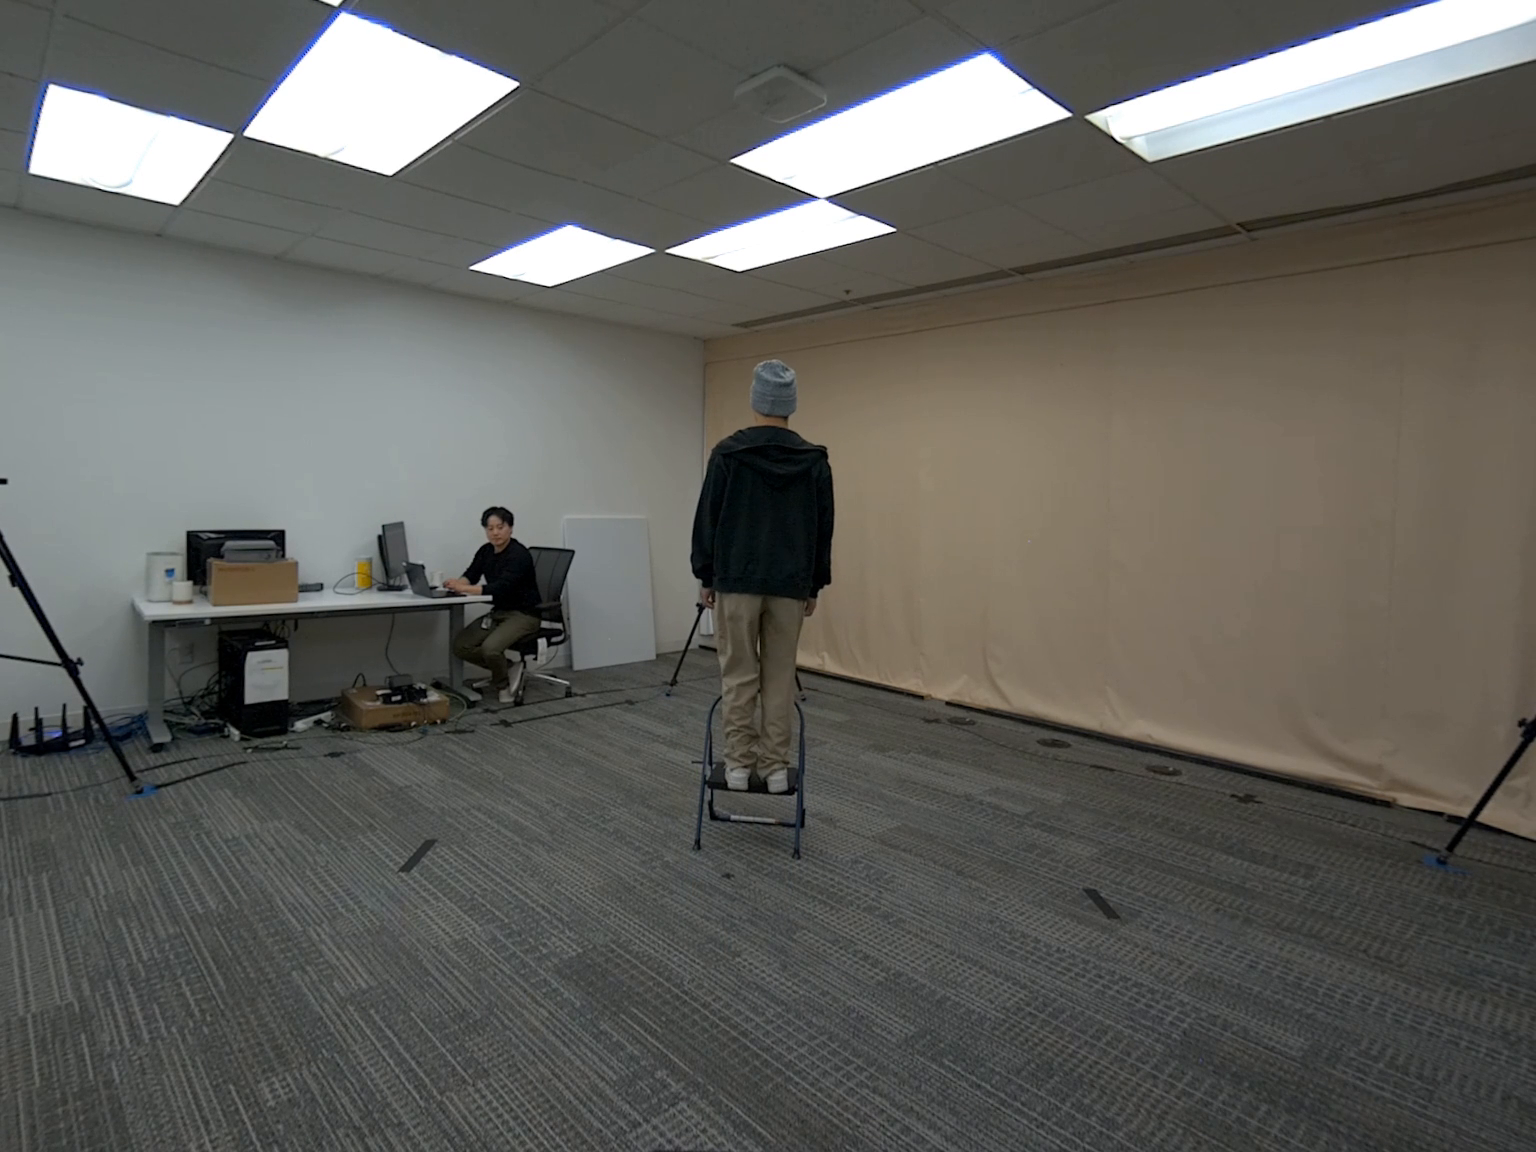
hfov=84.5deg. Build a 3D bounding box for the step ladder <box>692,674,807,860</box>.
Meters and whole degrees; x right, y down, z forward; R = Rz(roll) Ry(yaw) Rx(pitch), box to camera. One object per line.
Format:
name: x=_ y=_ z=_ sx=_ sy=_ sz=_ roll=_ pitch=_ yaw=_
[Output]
step ladder: x=-0.068 y=0.783 z=3.457 sx=0.433 sy=0.604 sz=0.348 roll=2 pitch=4 yaw=8
